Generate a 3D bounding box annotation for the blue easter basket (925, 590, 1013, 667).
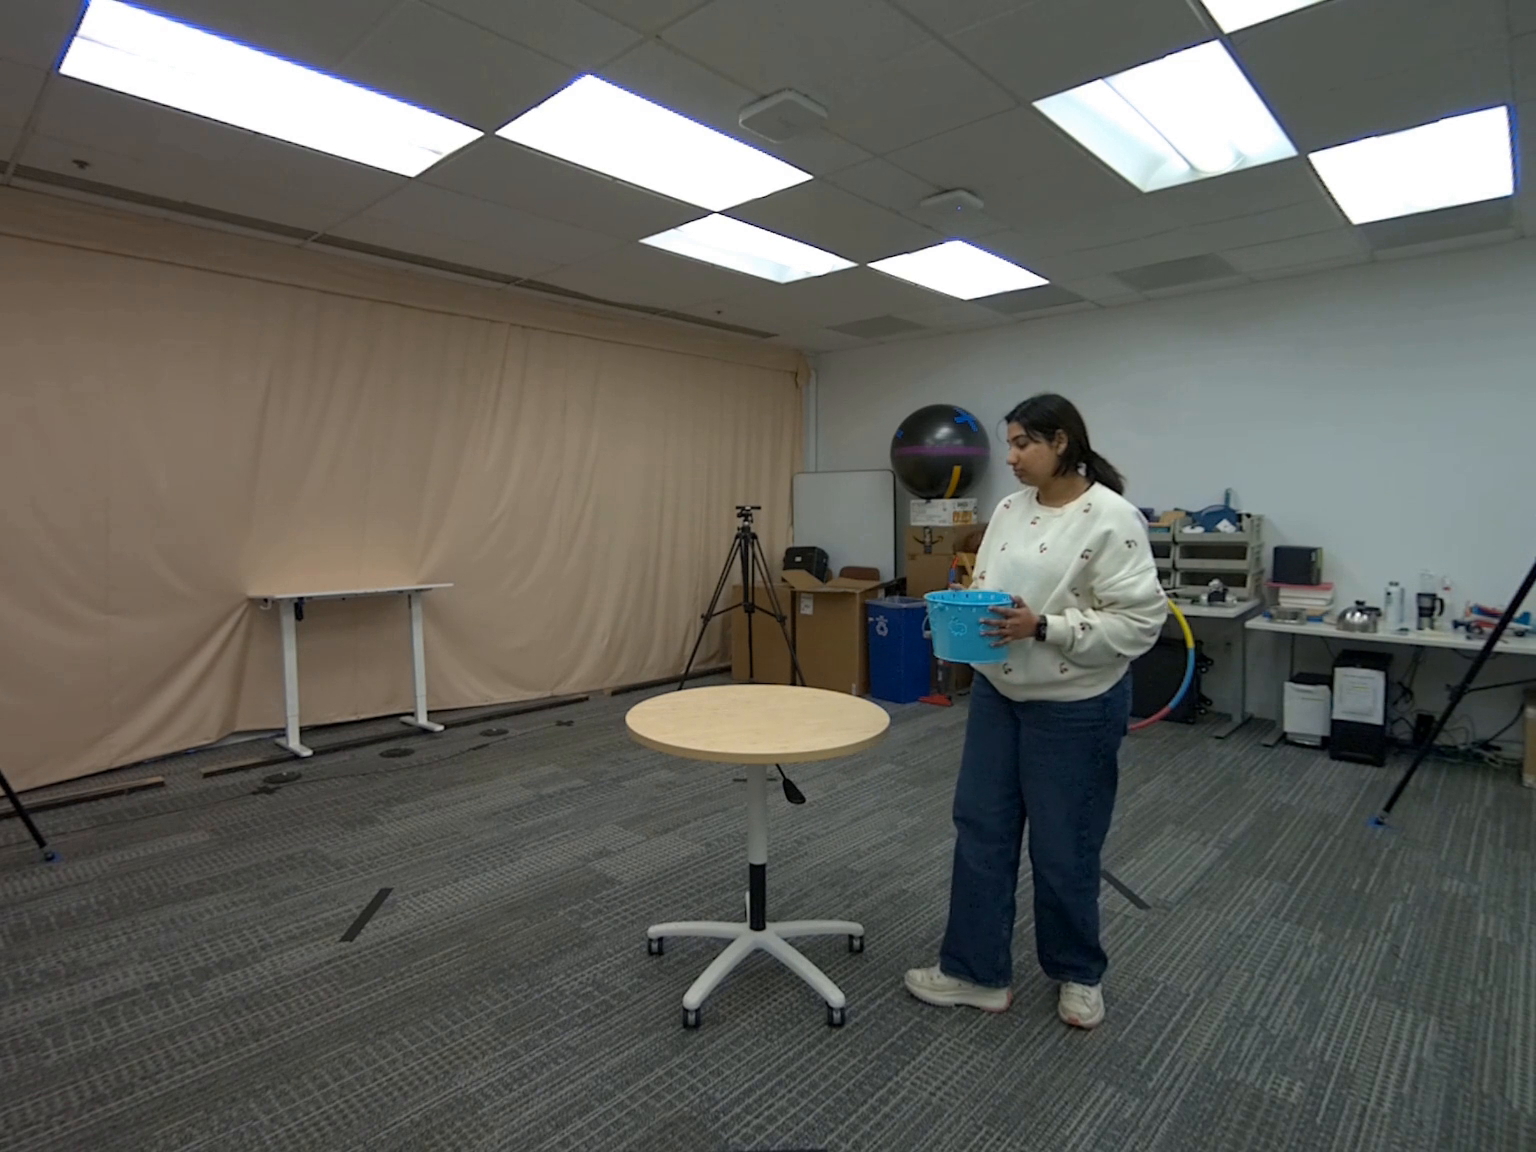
[{"bbox_3d":[0.536,0.131,2.155,0.243,0.155,0.245,0,6,-2],"label":"blue easter basket"}]
